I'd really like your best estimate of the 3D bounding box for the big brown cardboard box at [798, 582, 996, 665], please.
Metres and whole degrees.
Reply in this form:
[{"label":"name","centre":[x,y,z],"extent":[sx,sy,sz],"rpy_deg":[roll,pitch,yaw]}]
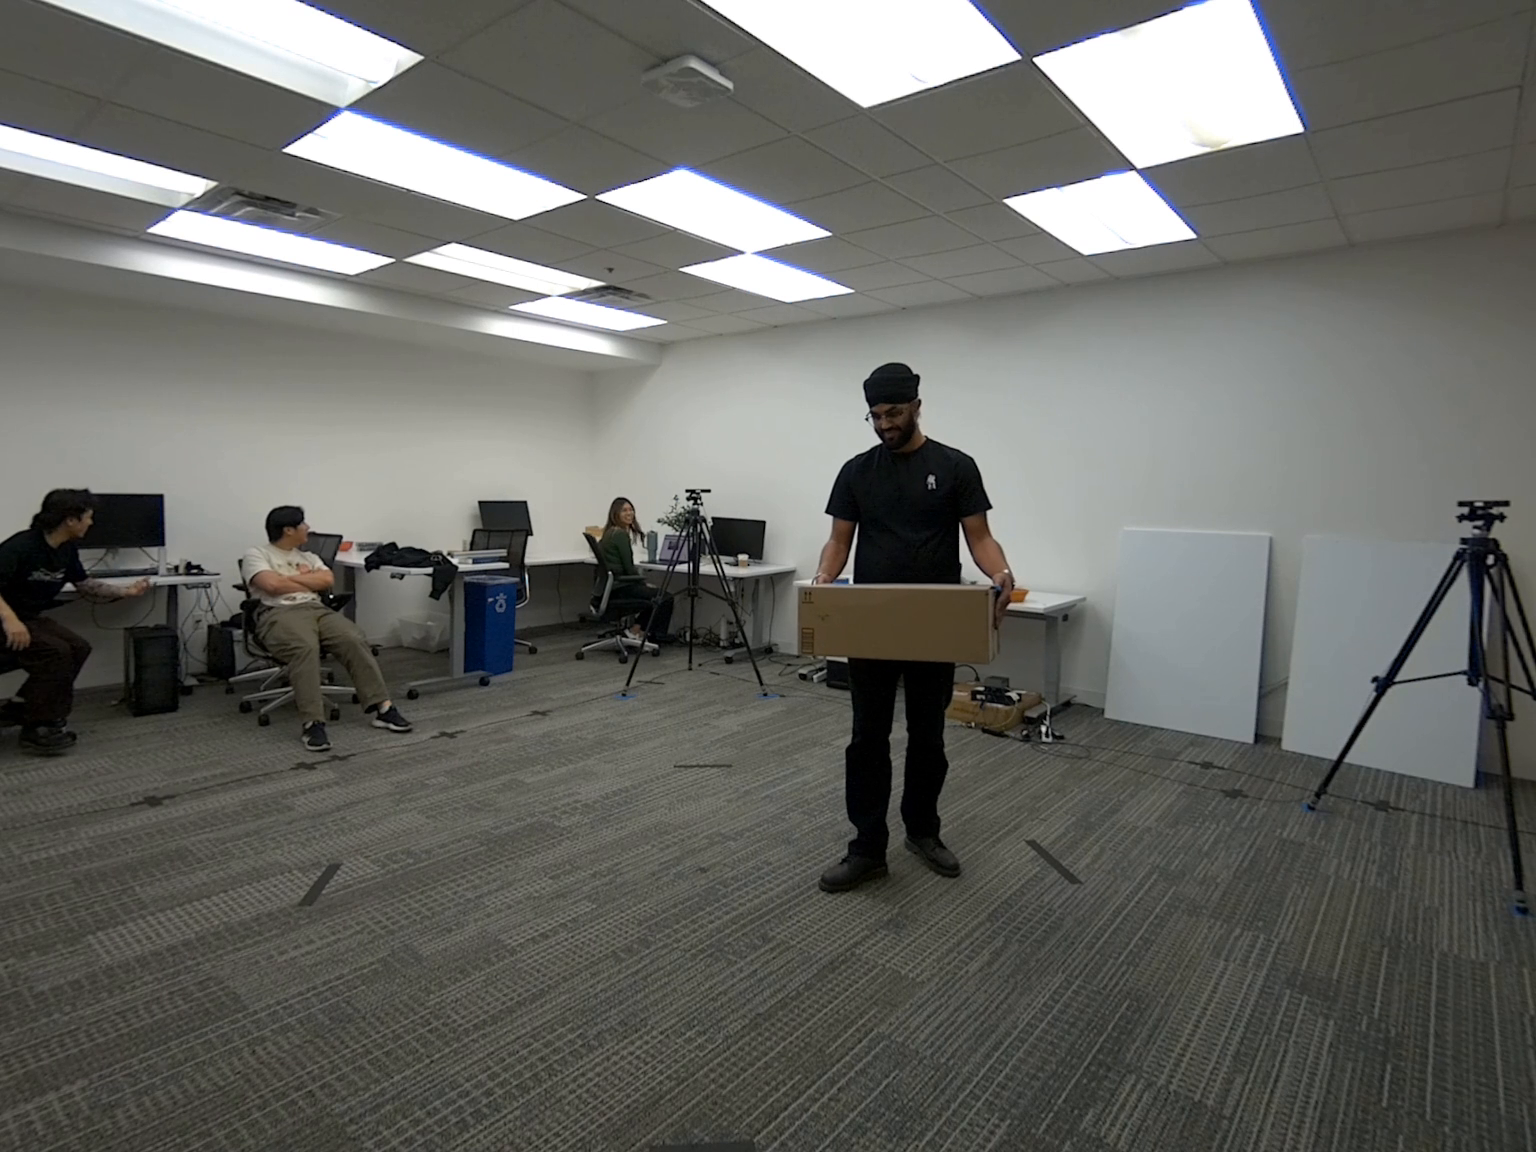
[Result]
[{"label":"big brown cardboard box","centre":[0.423,0.133,2.716],"extent":[0.602,0.233,0.408],"rpy_deg":[0,-1,21]}]
